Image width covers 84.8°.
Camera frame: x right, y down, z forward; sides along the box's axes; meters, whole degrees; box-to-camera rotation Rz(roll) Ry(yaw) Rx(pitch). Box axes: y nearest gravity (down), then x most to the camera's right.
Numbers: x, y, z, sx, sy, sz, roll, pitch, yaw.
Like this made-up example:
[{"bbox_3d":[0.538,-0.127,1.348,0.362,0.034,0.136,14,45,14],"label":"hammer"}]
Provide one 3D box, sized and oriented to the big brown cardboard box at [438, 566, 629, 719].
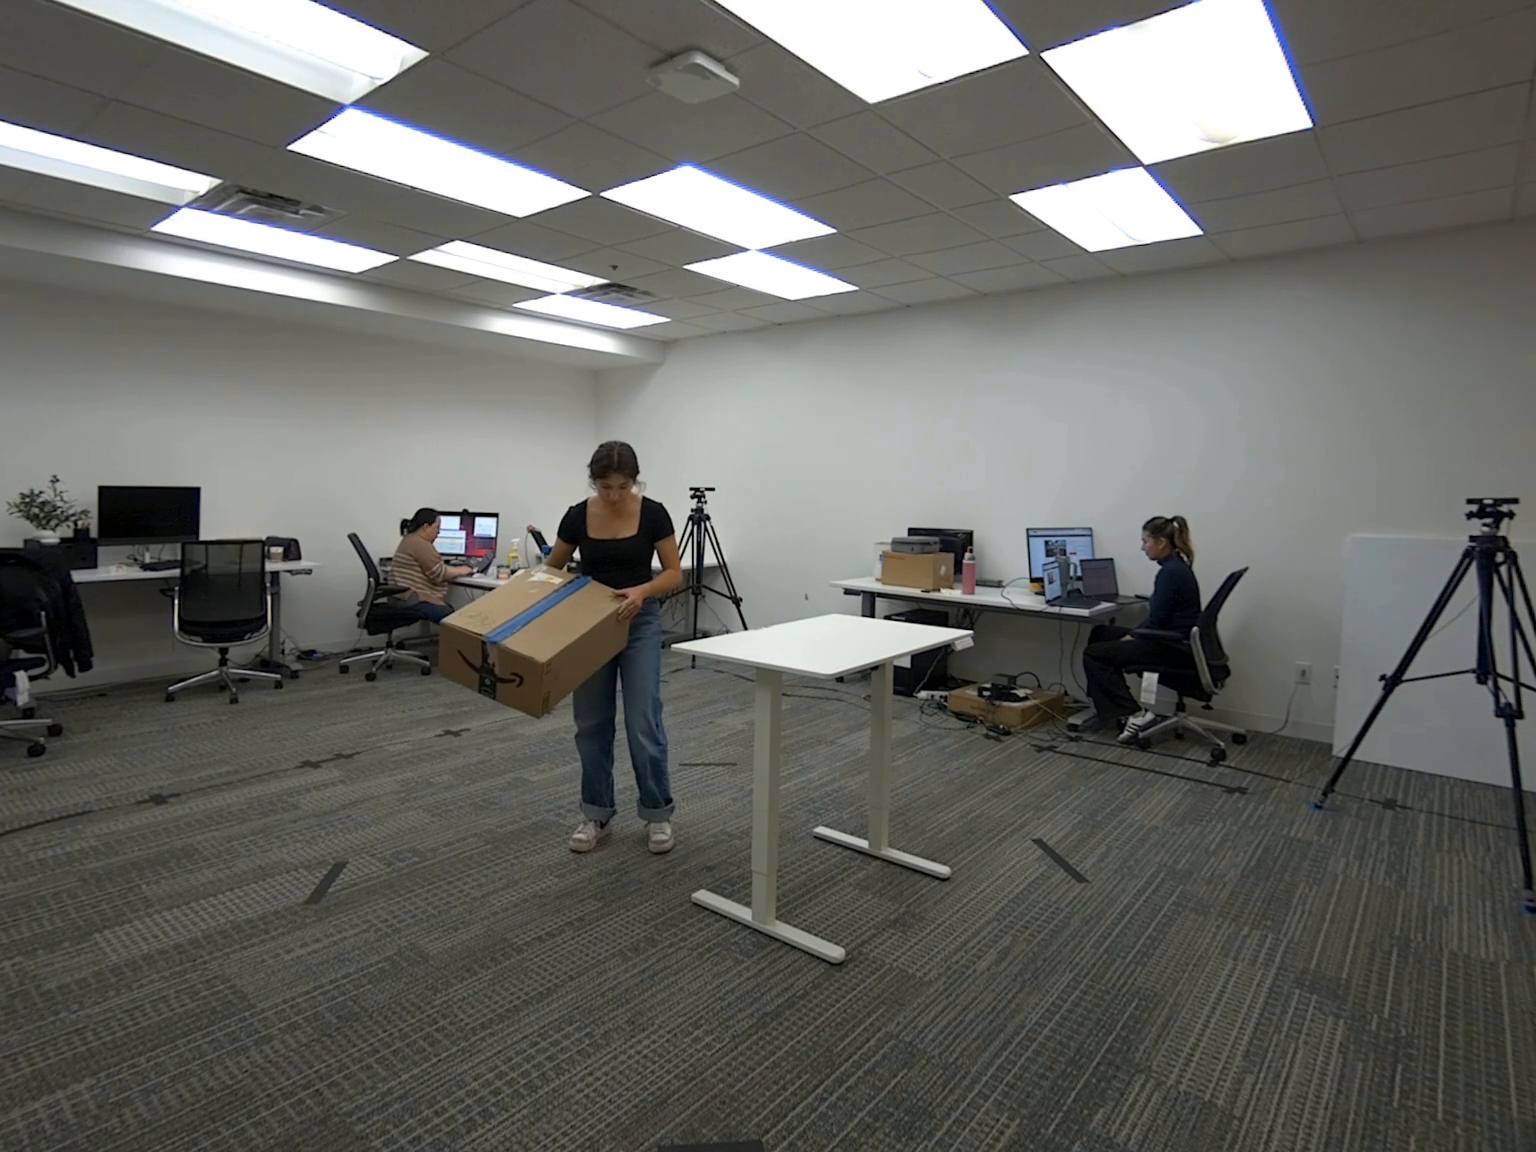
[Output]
[{"bbox_3d":[-0.802,0.202,2.991,0.427,0.229,0.587,16,26,15],"label":"big brown cardboard box"}]
